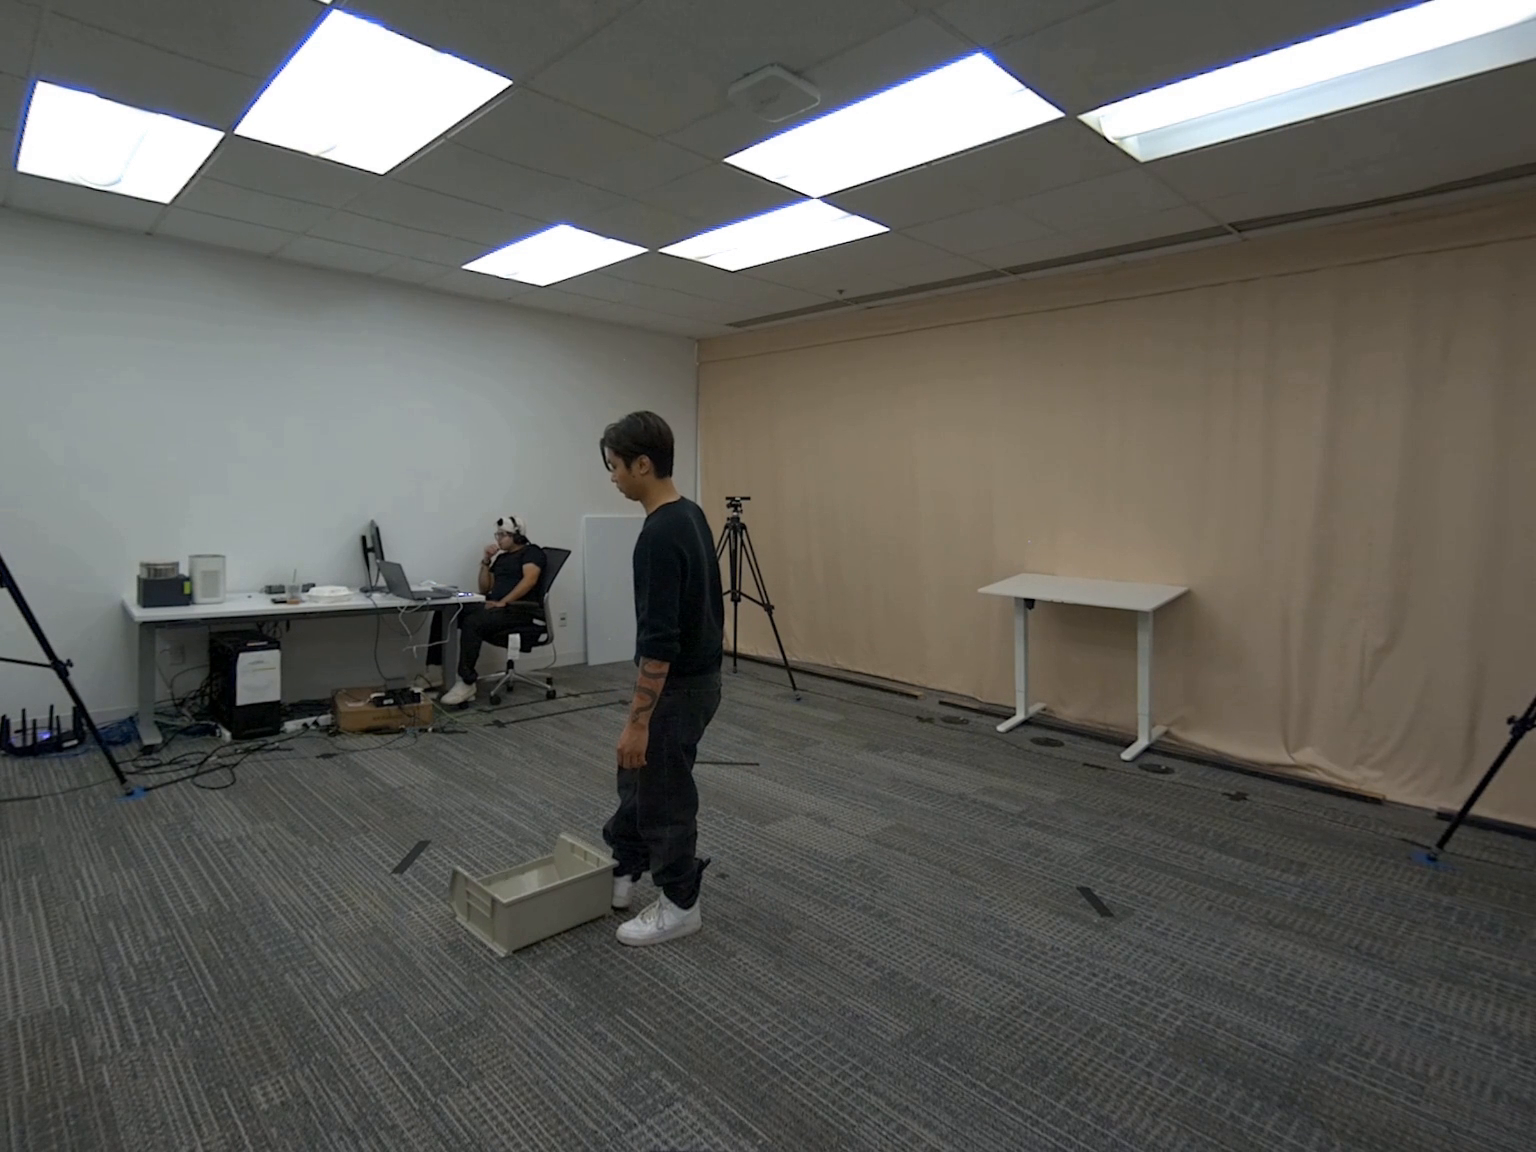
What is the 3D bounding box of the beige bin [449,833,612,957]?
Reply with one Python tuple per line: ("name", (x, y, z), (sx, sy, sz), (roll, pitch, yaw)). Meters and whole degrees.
("beige bin", (-0.777, 1.030, 2.784), (0.387, 0.188, 0.412), (7, 7, 44))
